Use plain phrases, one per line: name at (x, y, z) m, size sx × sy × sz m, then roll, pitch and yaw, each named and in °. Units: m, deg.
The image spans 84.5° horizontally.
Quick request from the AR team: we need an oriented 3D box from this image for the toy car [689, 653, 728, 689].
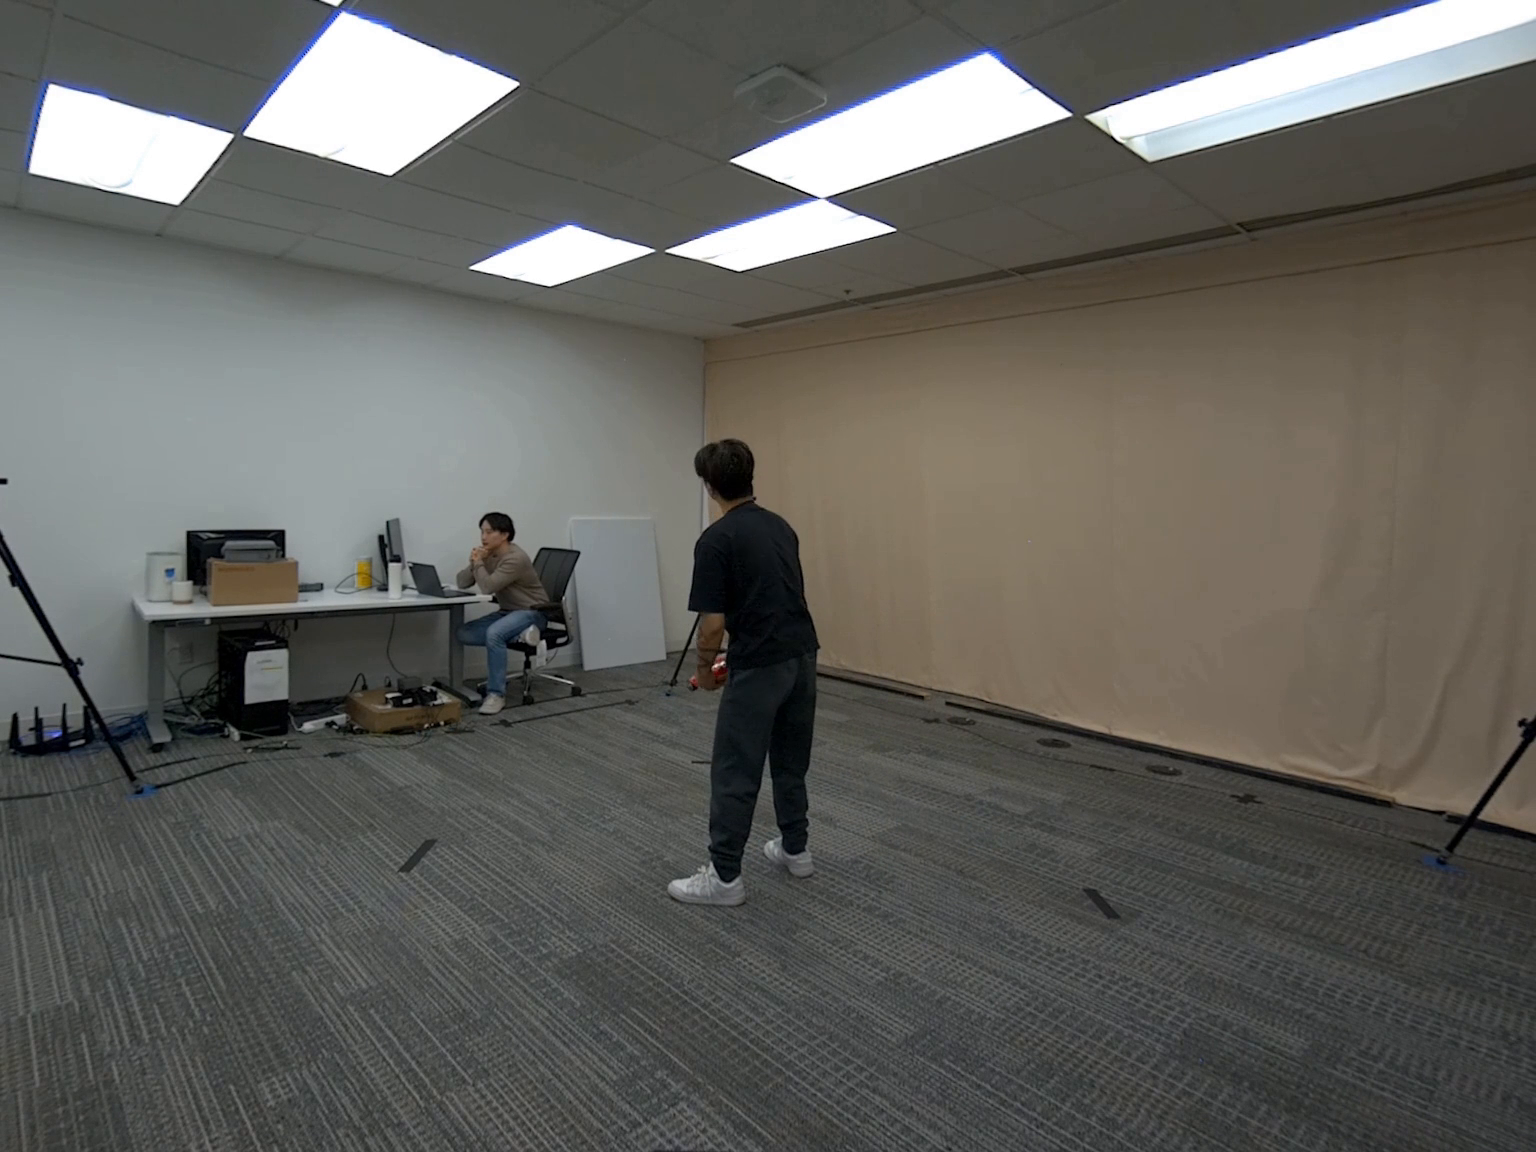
toy car at (-0.209, 0.378, 3.148) m, size 0.128 × 0.084 × 0.255 m, roll -15°, pitch -15°, yaw -33°
